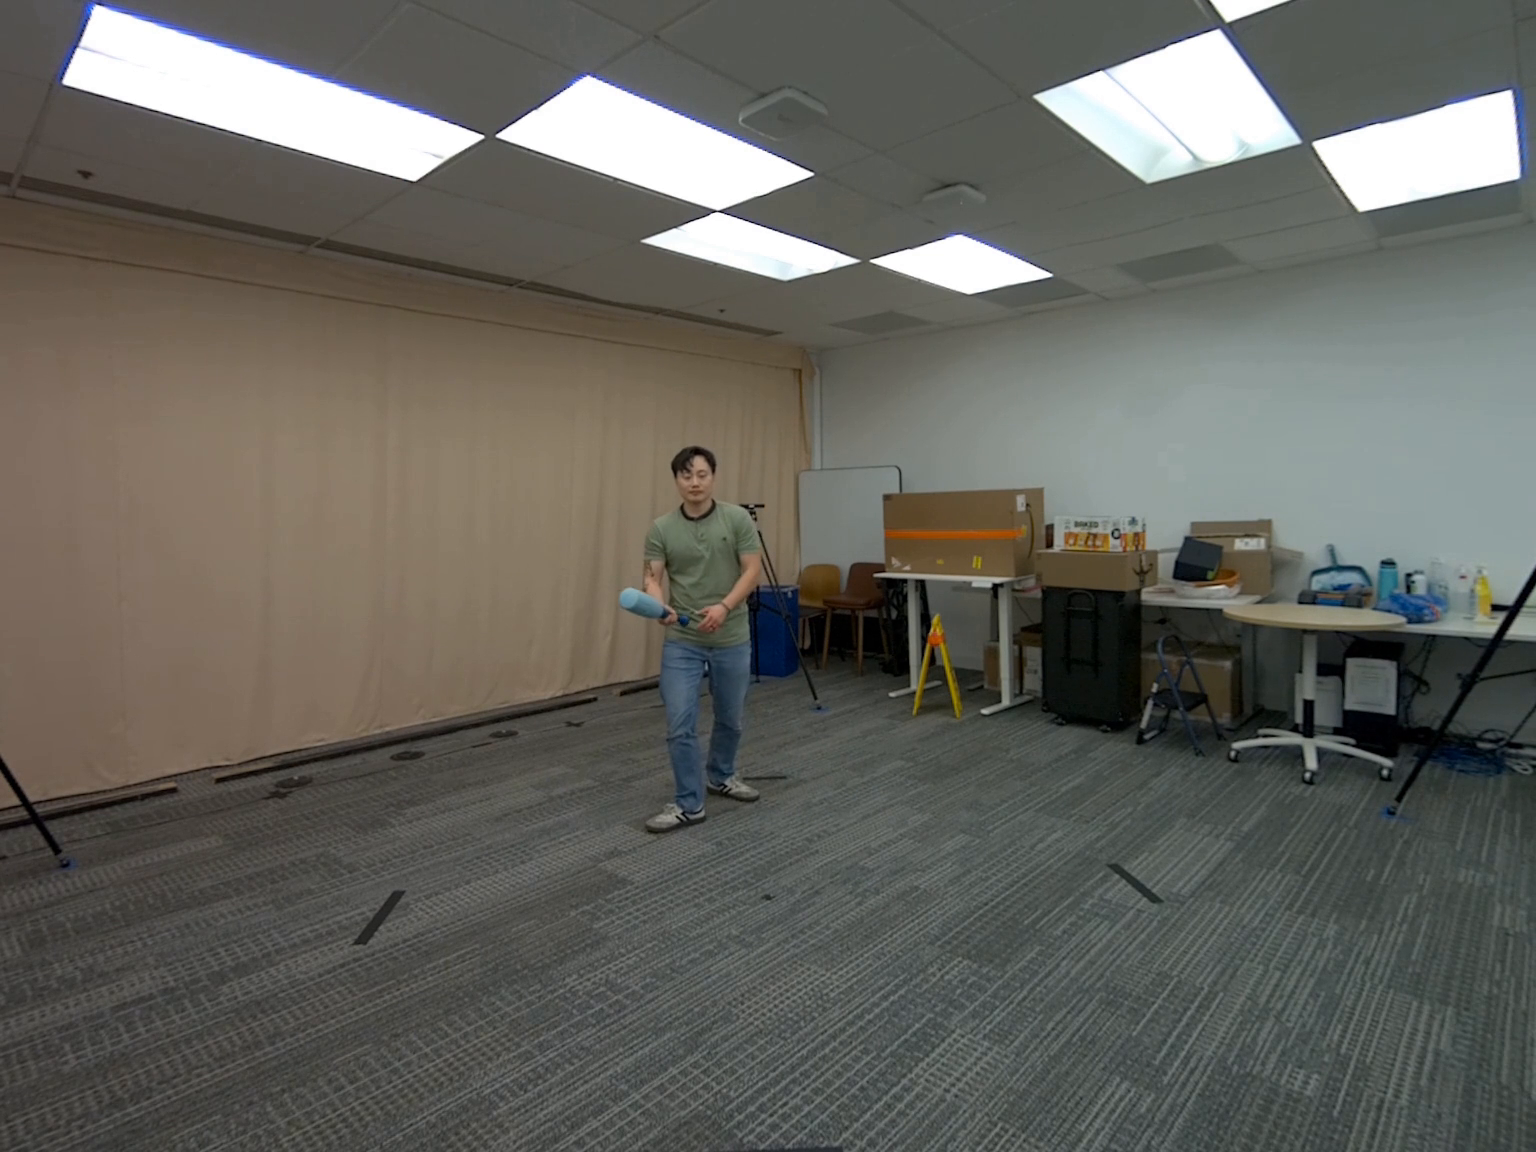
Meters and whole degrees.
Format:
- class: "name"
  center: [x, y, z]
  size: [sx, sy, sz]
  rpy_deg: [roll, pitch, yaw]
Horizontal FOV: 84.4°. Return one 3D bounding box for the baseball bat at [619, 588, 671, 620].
- class: "baseball bat"
  center: [-0.446, 0.130, 3.405]
  size: [0.091, 0.089, 0.528]
  rpy_deg: [1, -13, 19]
